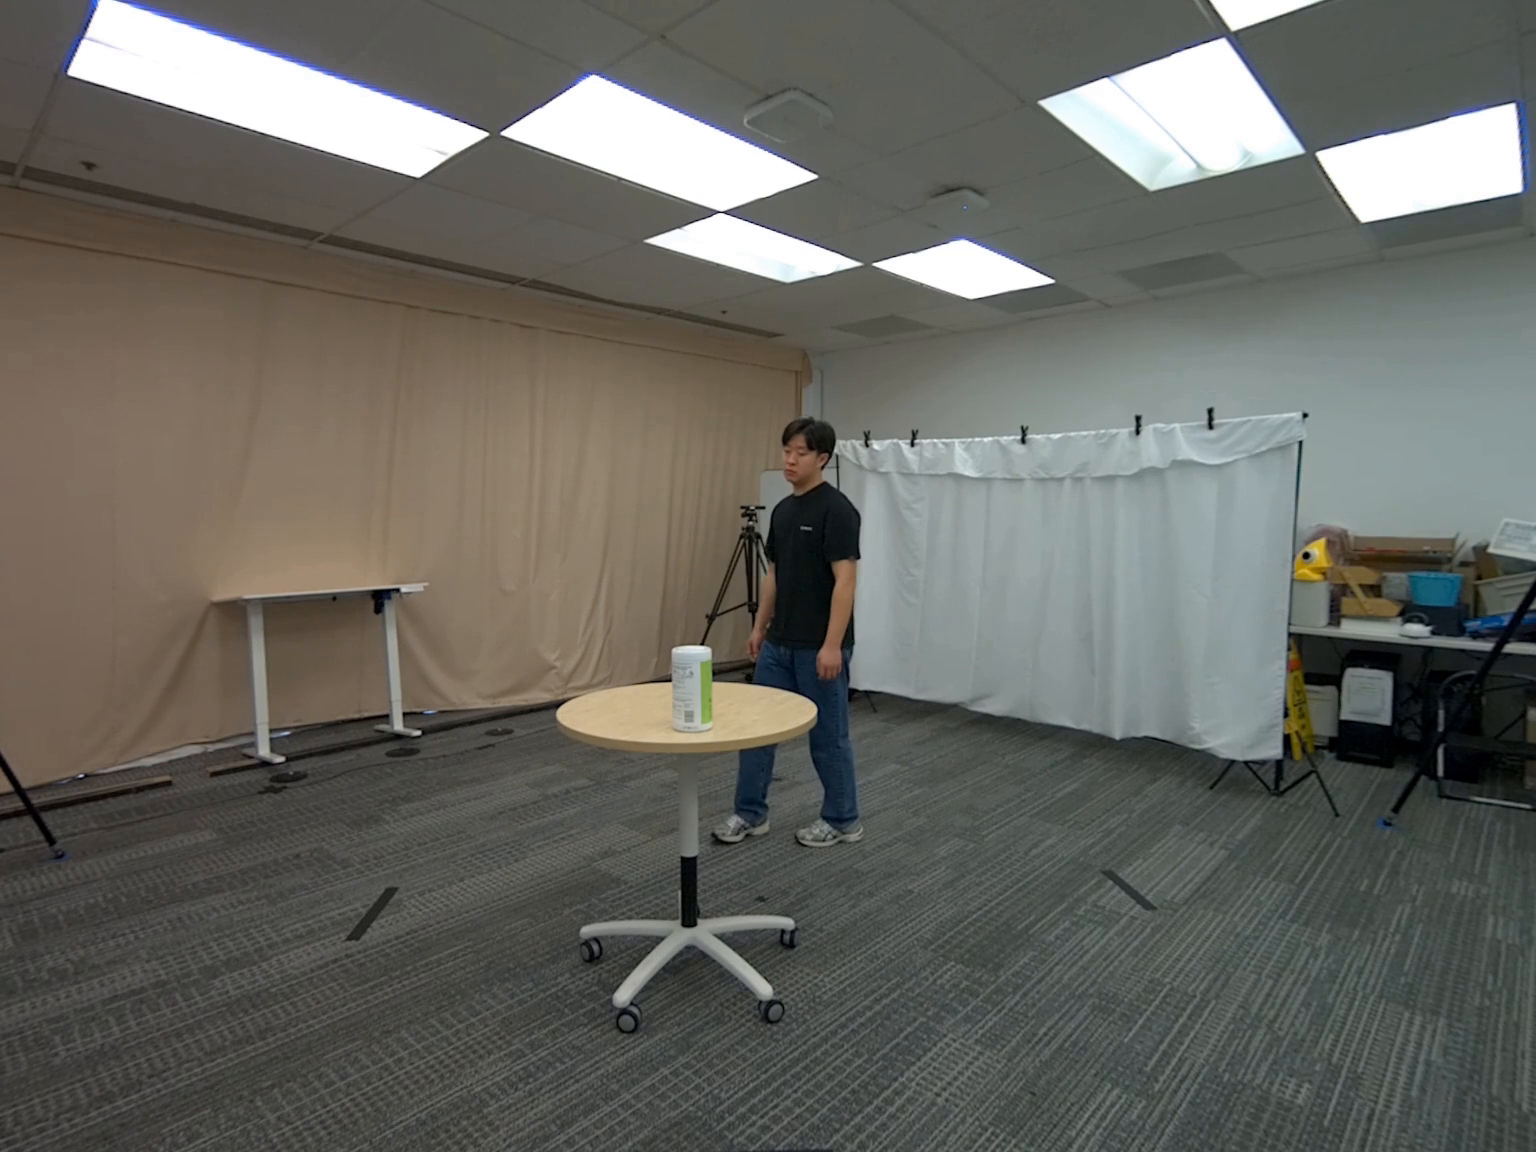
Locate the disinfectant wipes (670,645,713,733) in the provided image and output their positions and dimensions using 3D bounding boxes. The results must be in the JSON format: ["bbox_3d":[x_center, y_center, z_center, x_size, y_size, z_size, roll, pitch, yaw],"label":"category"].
[{"bbox_3d":[-0.197,0.304,2.249,0.118,0.217,0.118,-2,3,-2],"label":"disinfectant wipes"}]
